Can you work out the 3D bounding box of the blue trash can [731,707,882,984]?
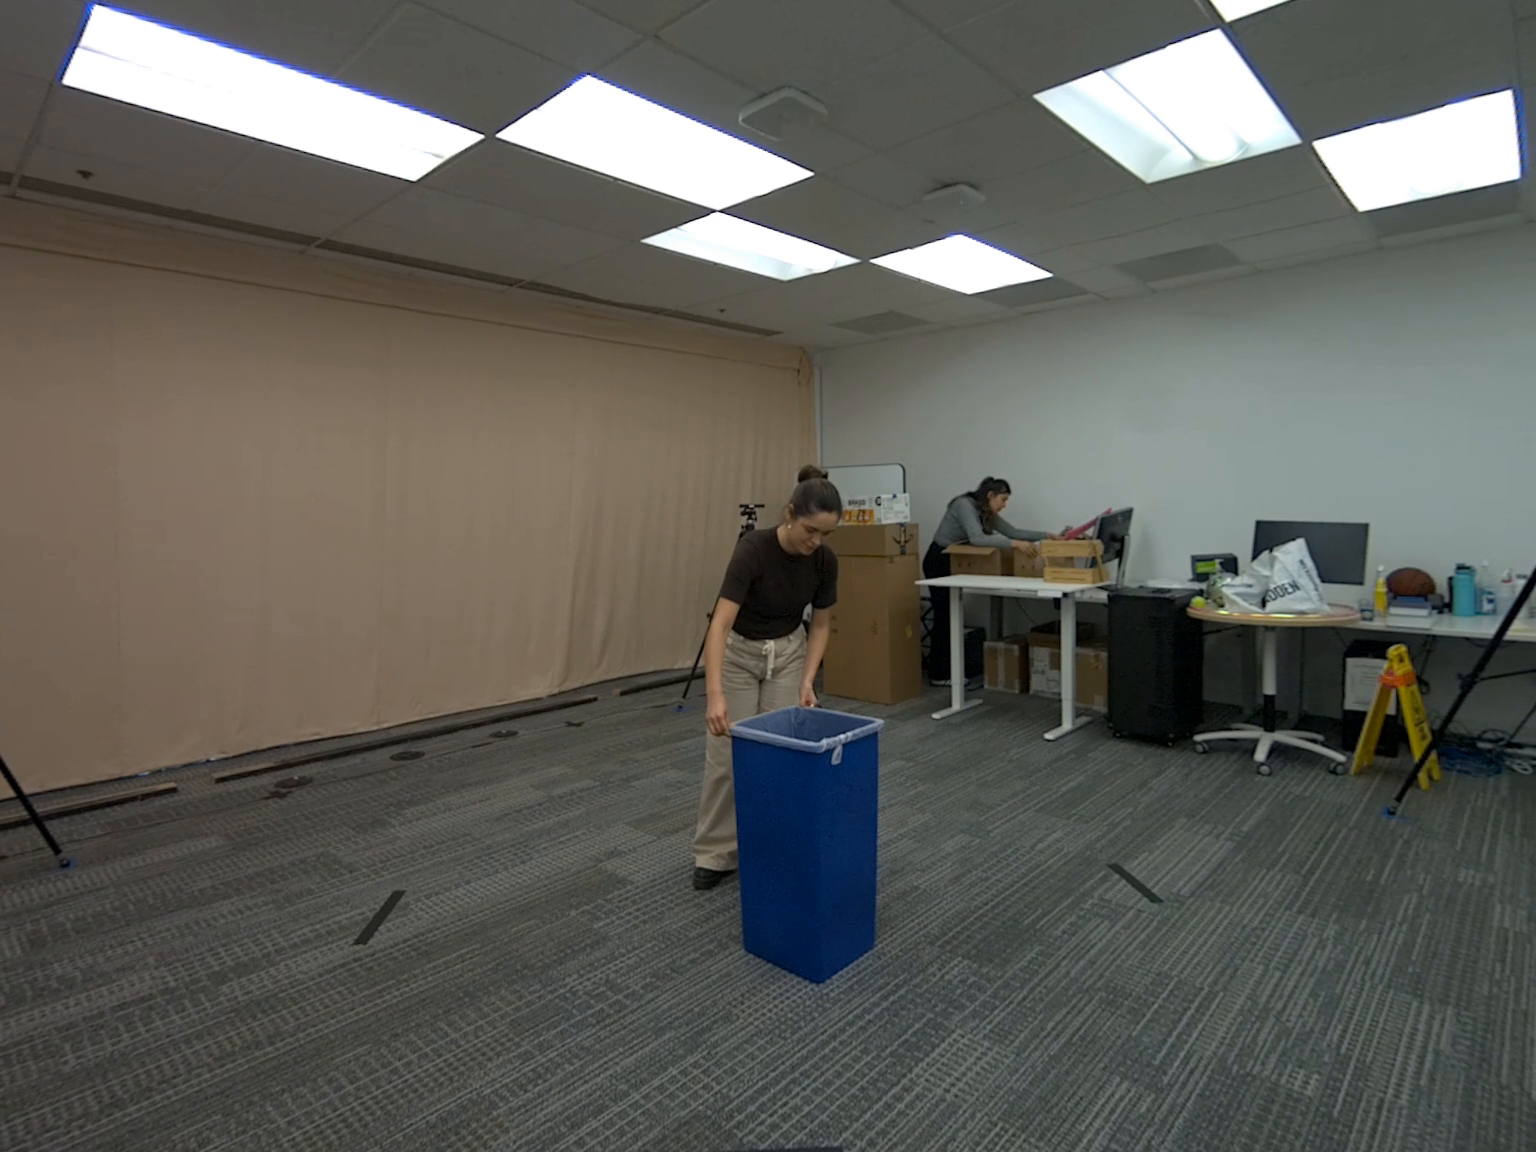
[{"bbox_3d":[0.119,0.810,2.624,0.386,0.712,0.366,2,4,41],"label":"blue trash can"}]
